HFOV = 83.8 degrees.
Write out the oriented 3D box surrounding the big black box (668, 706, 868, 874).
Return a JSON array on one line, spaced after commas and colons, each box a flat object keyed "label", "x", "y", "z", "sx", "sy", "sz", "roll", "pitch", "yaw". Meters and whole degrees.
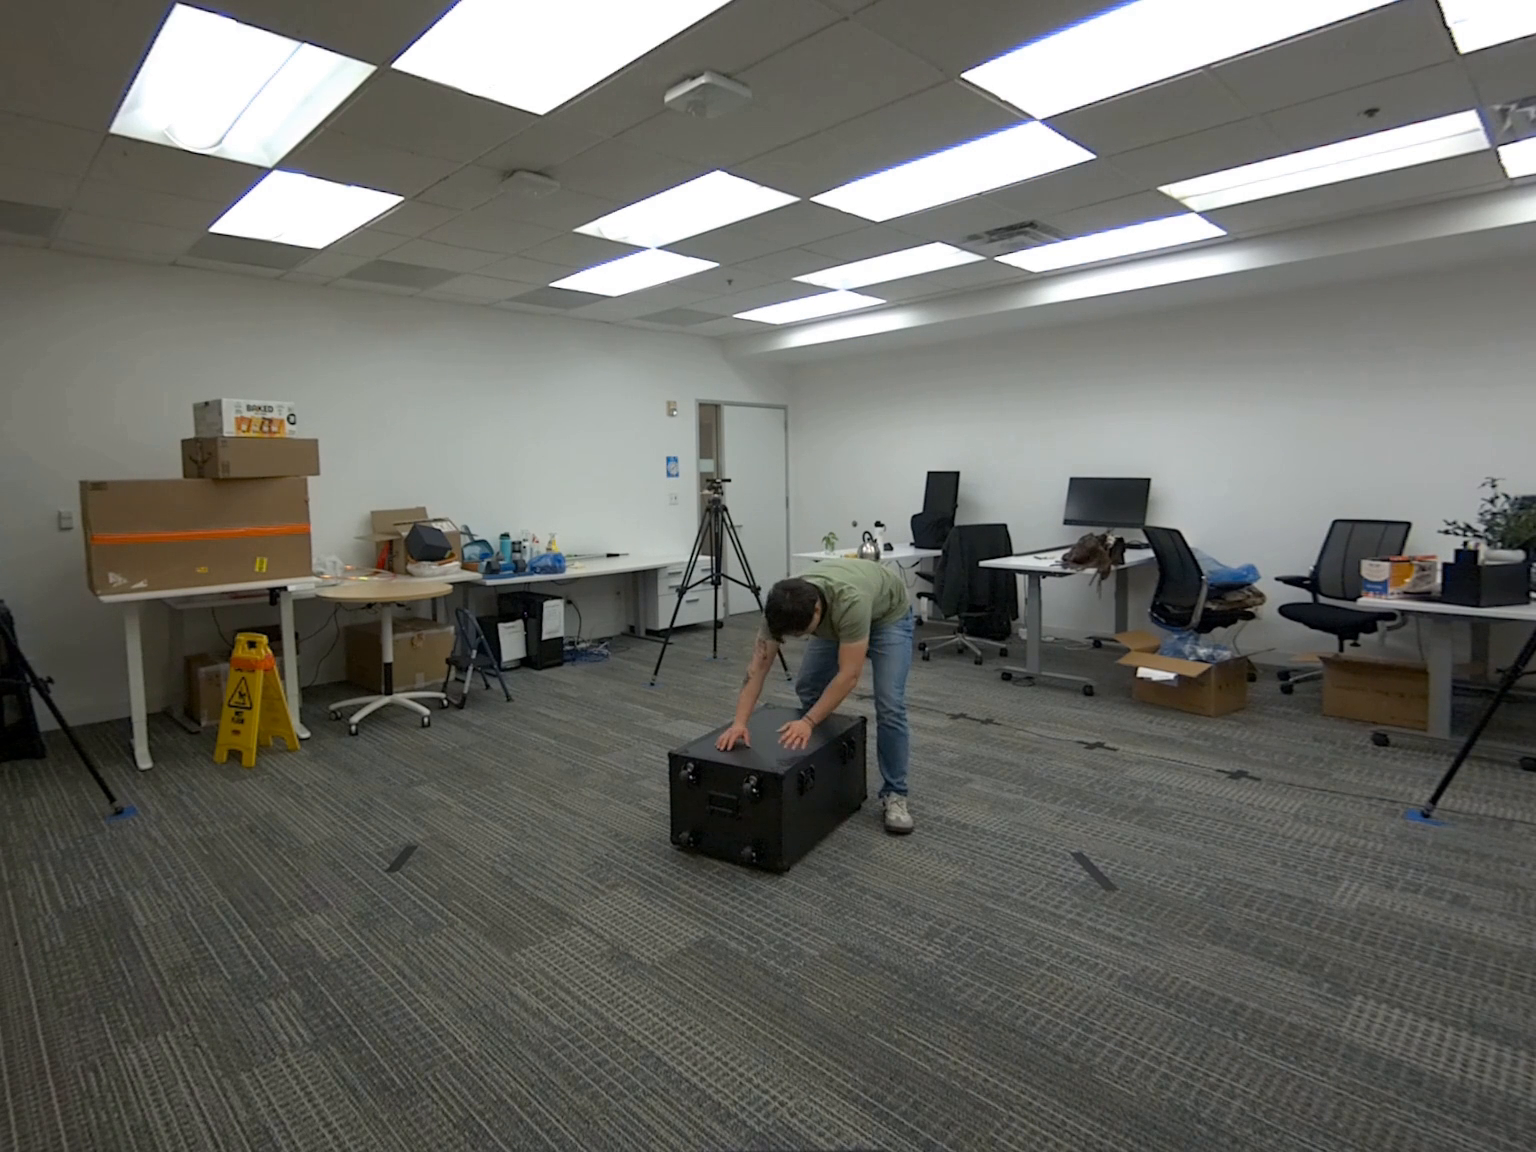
[{"label": "big black box", "x": 0.006, "y": 0.821, "z": 3.396, "sx": 0.535, "sy": 0.395, "sz": 0.842, "roll": 2, "pitch": 6, "yaw": 30}]
